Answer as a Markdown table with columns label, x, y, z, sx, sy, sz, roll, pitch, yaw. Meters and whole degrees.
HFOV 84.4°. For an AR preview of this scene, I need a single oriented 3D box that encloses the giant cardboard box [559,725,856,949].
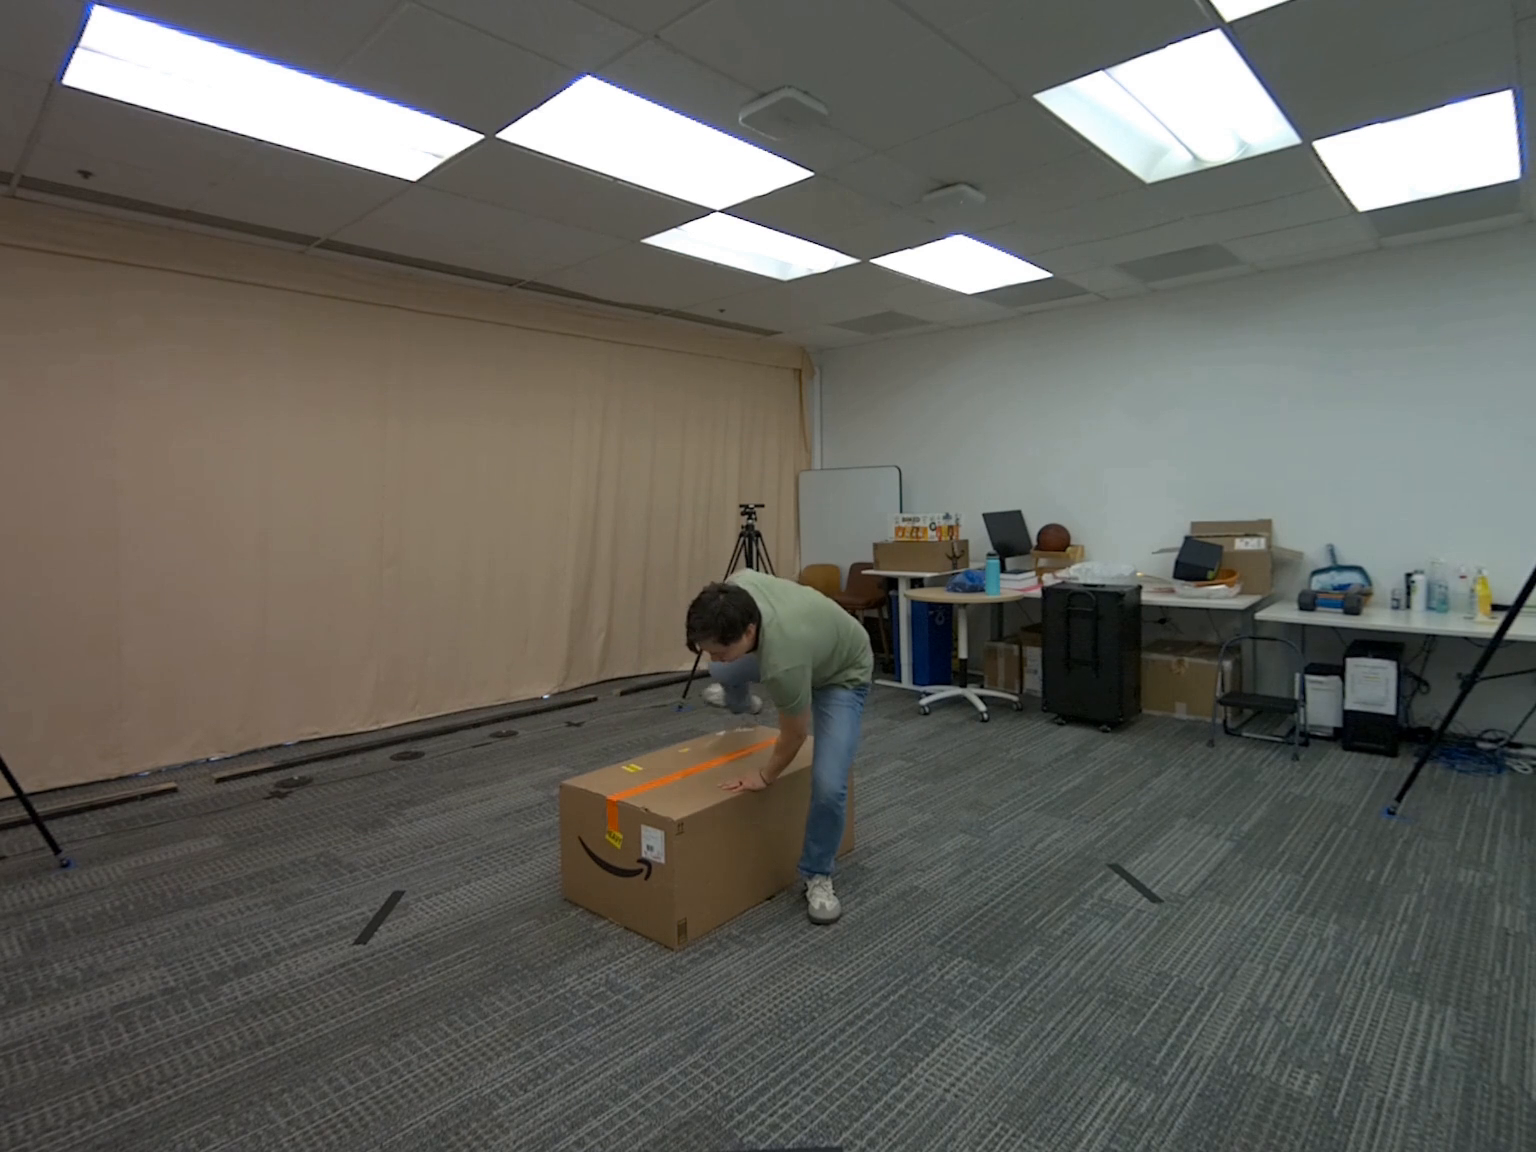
| label | x | y | z | sx | sy | sz | roll | pitch | yaw |
| --- | --- | --- | --- | --- | --- | --- | --- | --- | --- |
| giant cardboard box | -0.195 | 0.914 | 3.183 | 0.596 | 0.425 | 0.995 | 2 | 6 | 40 |
